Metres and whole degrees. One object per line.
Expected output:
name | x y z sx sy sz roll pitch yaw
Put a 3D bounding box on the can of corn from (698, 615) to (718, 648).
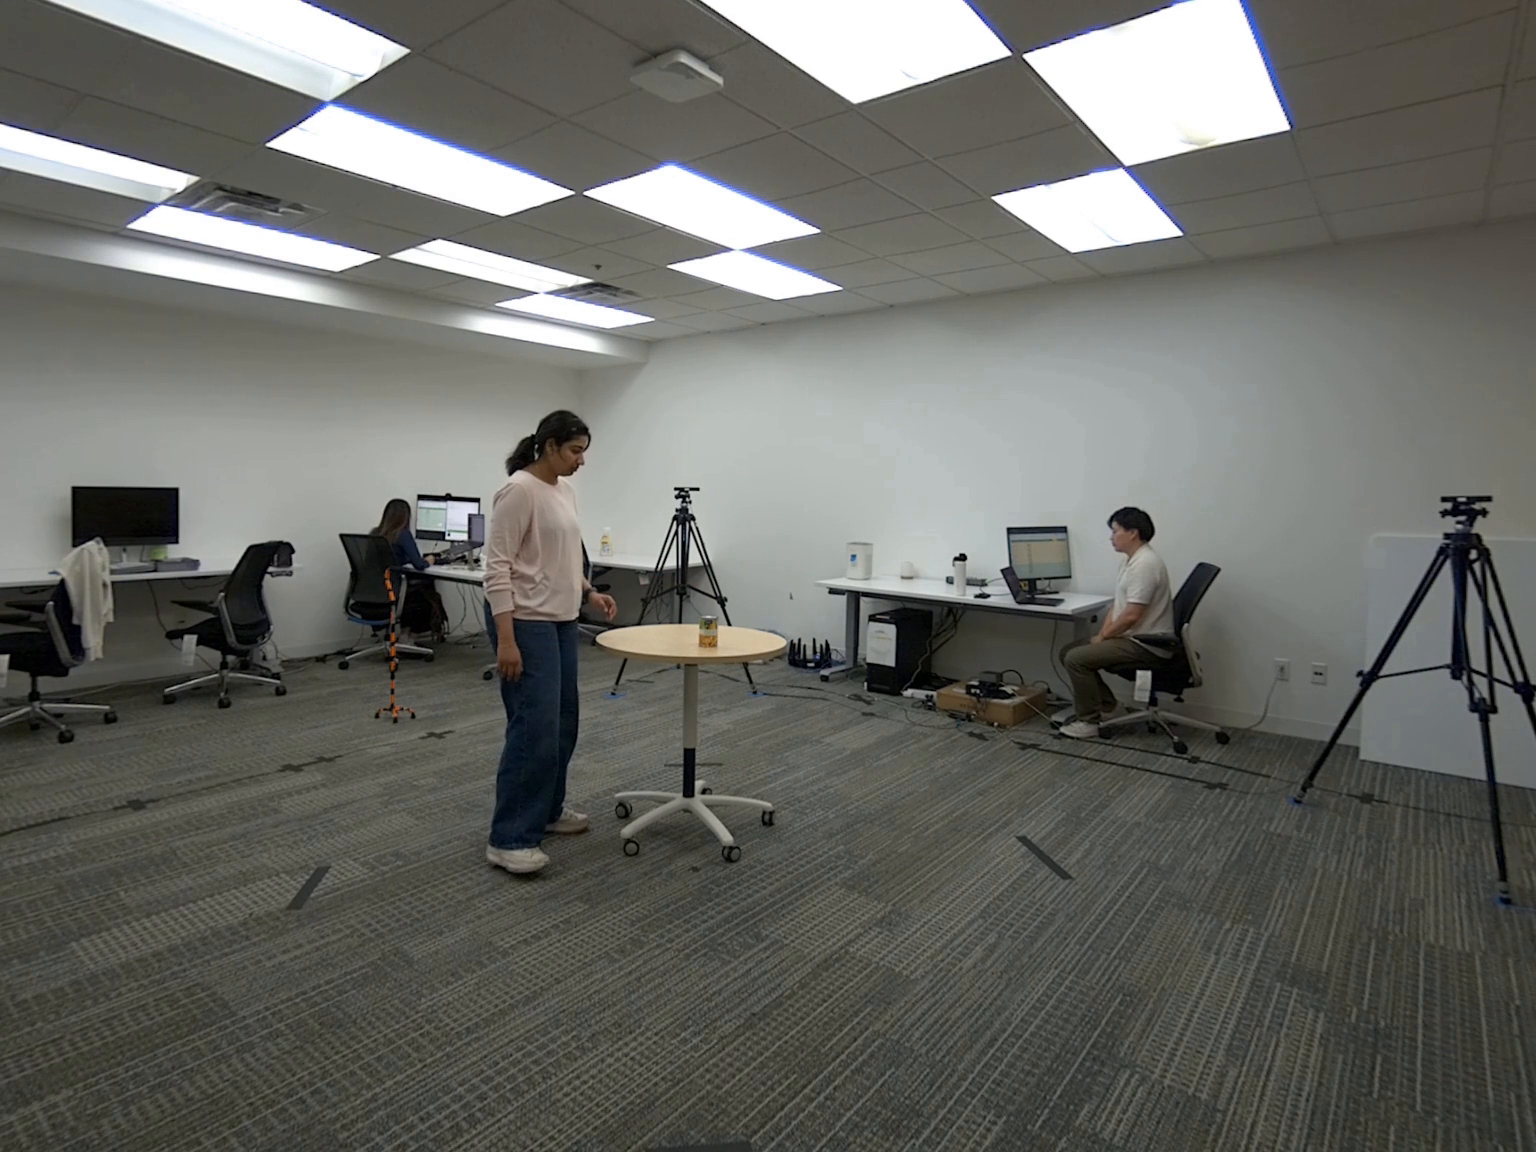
can of corn | -0.241 0.213 3.272 0.074 0.111 0.074 1 3 -2
